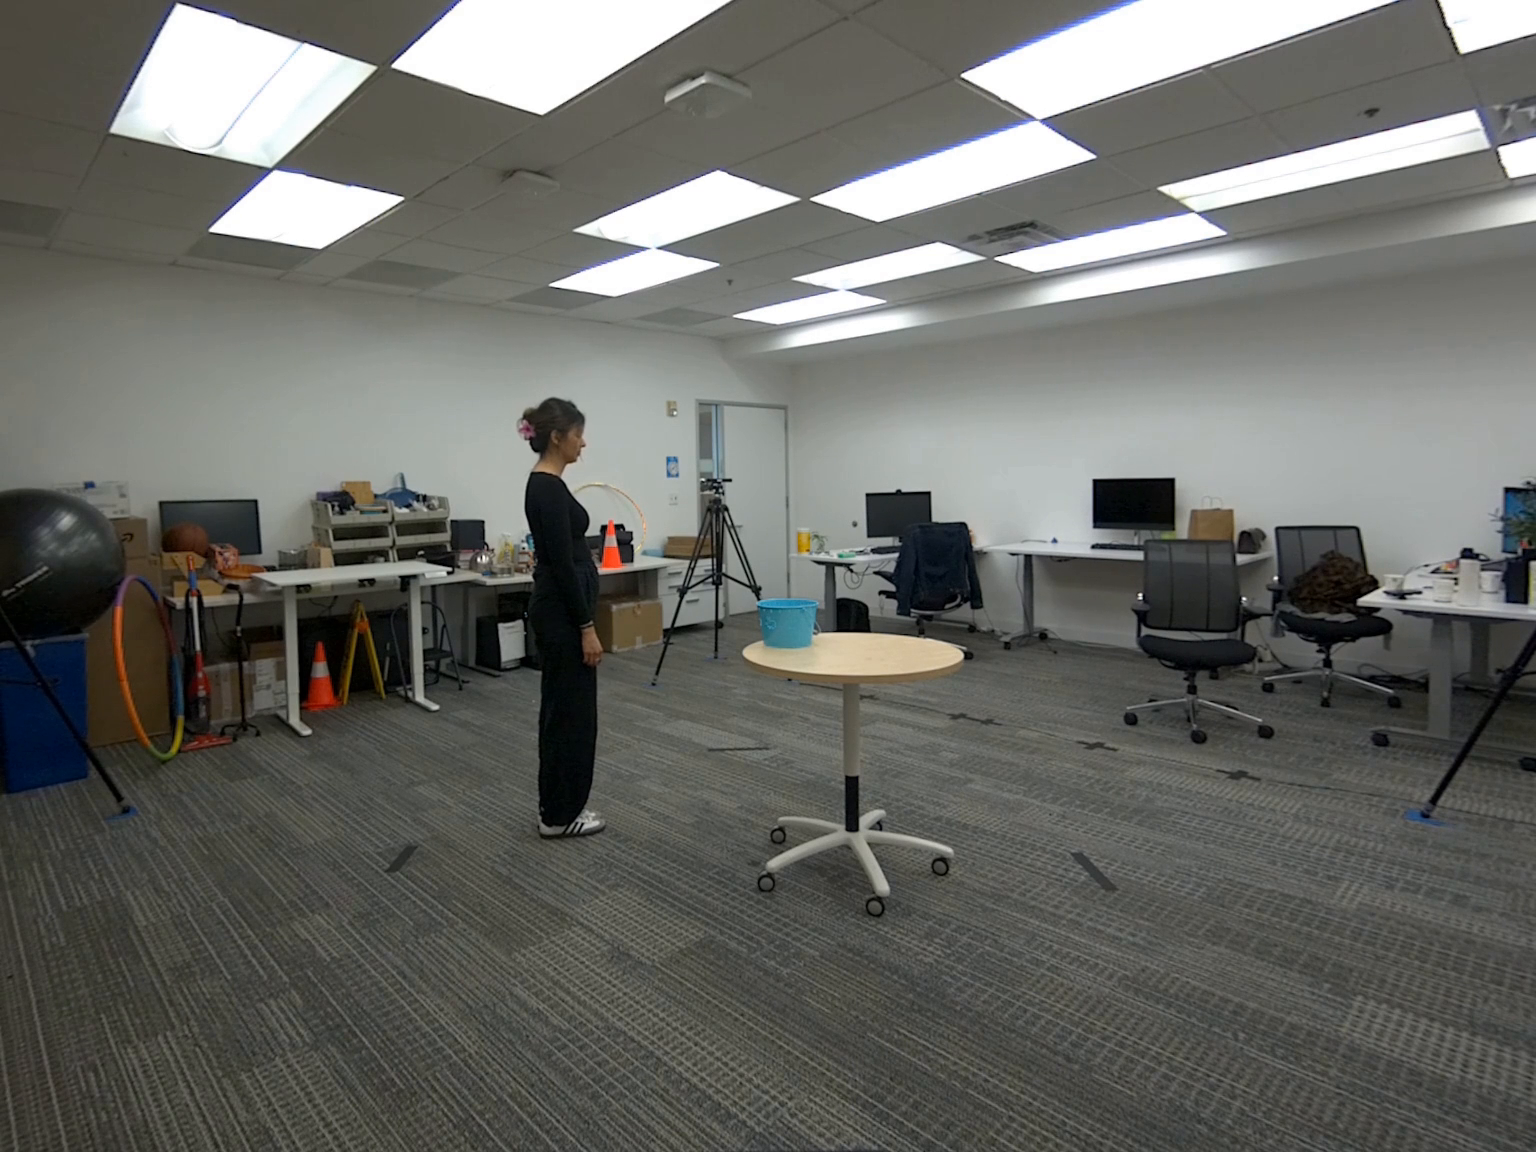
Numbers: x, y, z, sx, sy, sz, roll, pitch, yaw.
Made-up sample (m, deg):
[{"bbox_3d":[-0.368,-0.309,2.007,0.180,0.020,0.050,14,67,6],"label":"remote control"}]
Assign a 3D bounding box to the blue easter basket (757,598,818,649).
[{"bbox_3d":[0.072,0.181,3.171,0.243,0.155,0.245,-3,6,-1],"label":"blue easter basket"}]
